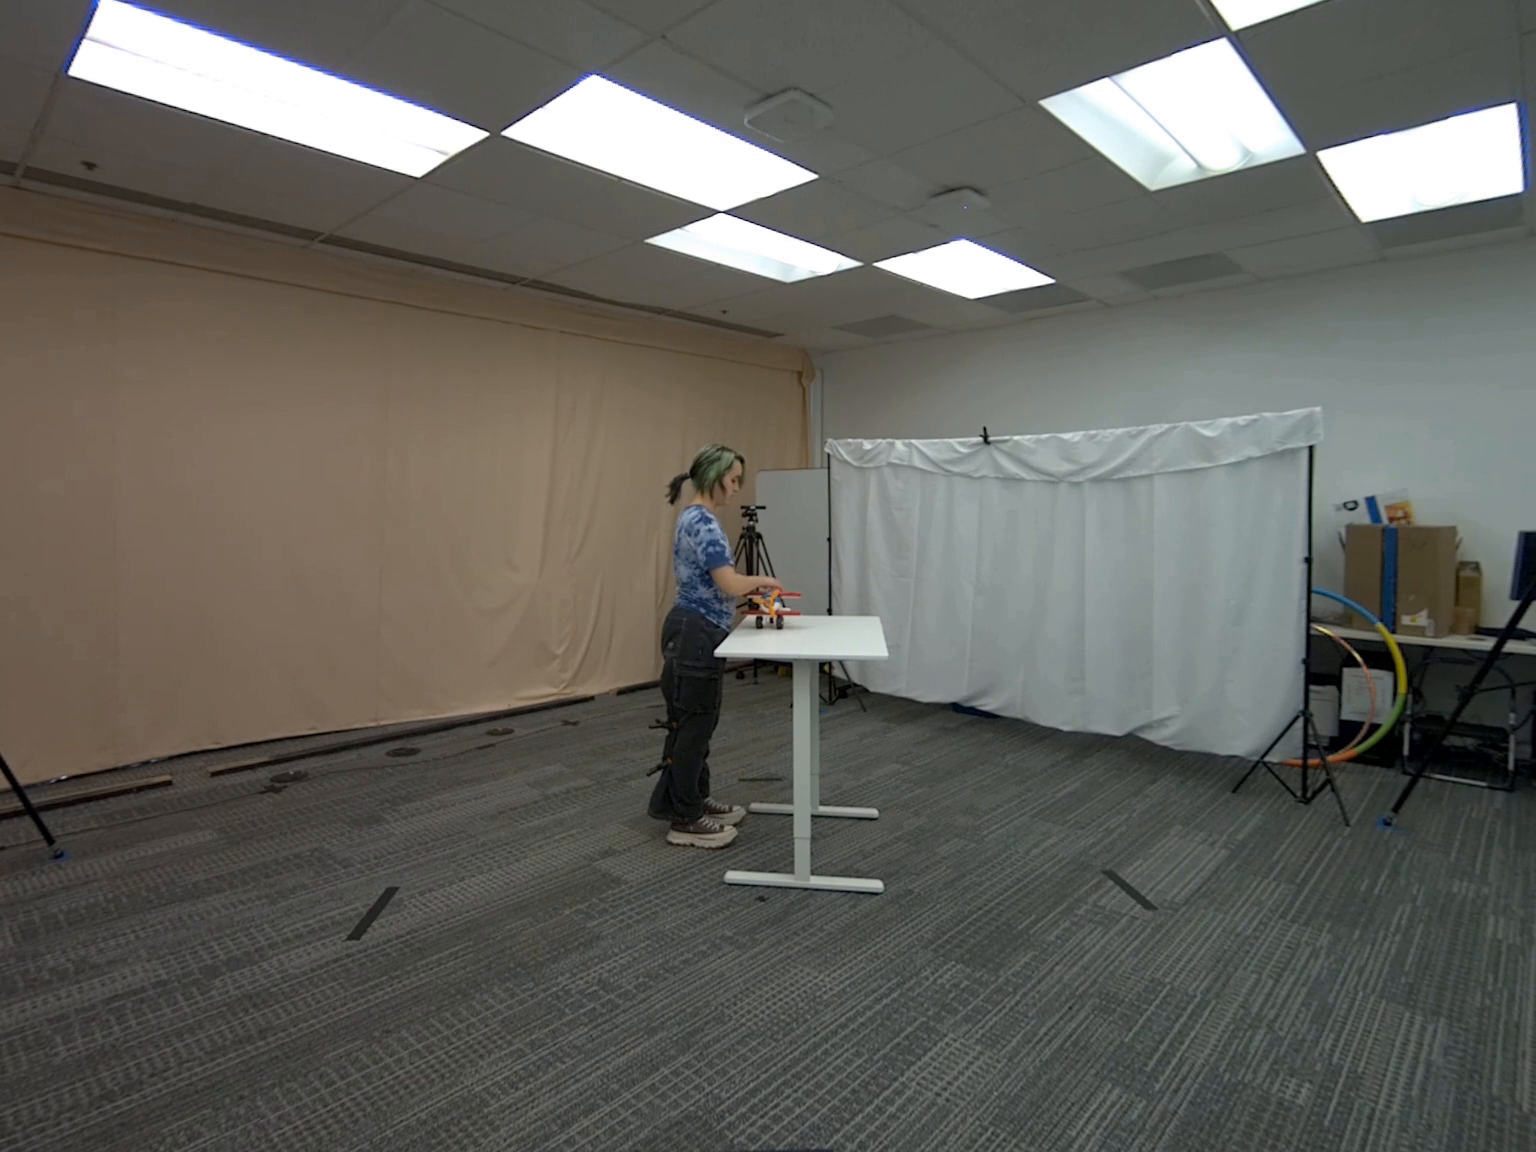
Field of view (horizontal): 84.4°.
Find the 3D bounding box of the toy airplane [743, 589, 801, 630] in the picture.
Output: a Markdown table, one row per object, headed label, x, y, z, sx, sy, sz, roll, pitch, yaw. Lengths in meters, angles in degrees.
| label | x | y | z | sx | sy | sz | roll | pitch | yaw |
| --- | --- | --- | --- | --- | --- | --- | --- | --- | --- |
| toy airplane | -0.001 | 0.137 | 3.571 | 0.247 | 0.156 | 0.264 | -3 | 5 | -18 |
